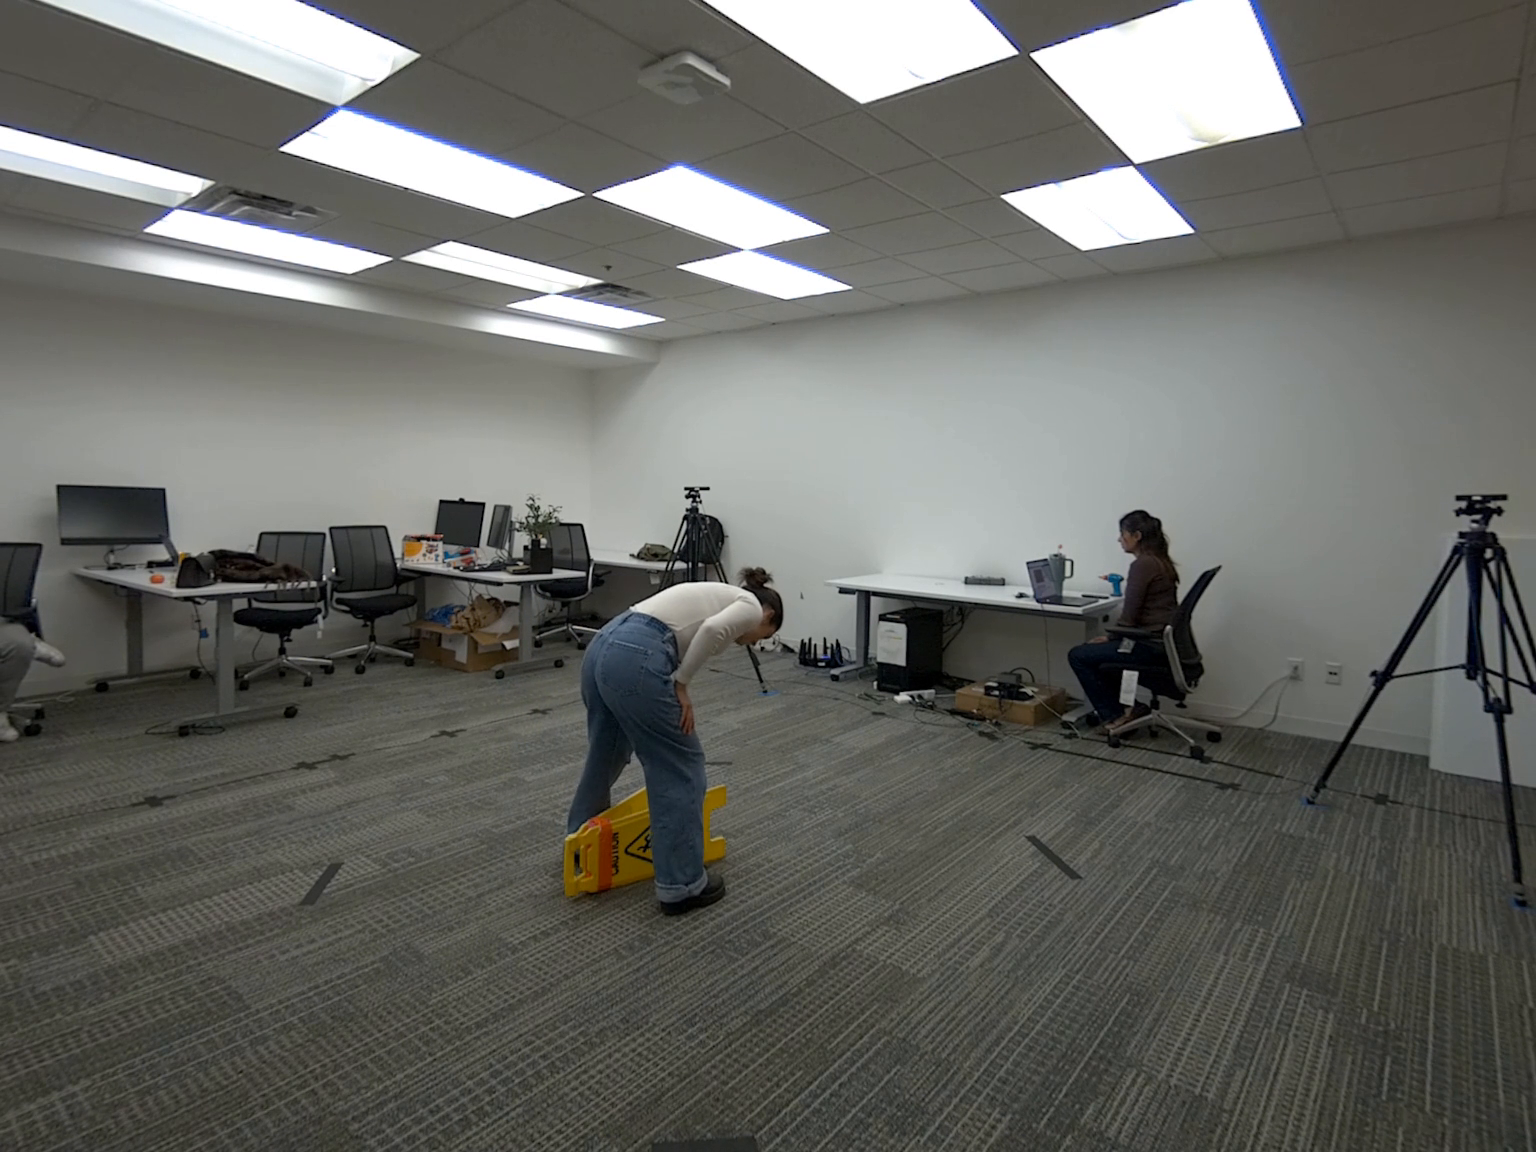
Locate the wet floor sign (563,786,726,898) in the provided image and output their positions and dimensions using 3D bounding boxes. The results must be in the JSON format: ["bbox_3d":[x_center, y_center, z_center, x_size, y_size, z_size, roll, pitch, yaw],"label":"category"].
[{"bbox_3d":[-0.469,0.936,3.053,0.299,0.281,0.628,4,7,41],"label":"wet floor sign"}]
